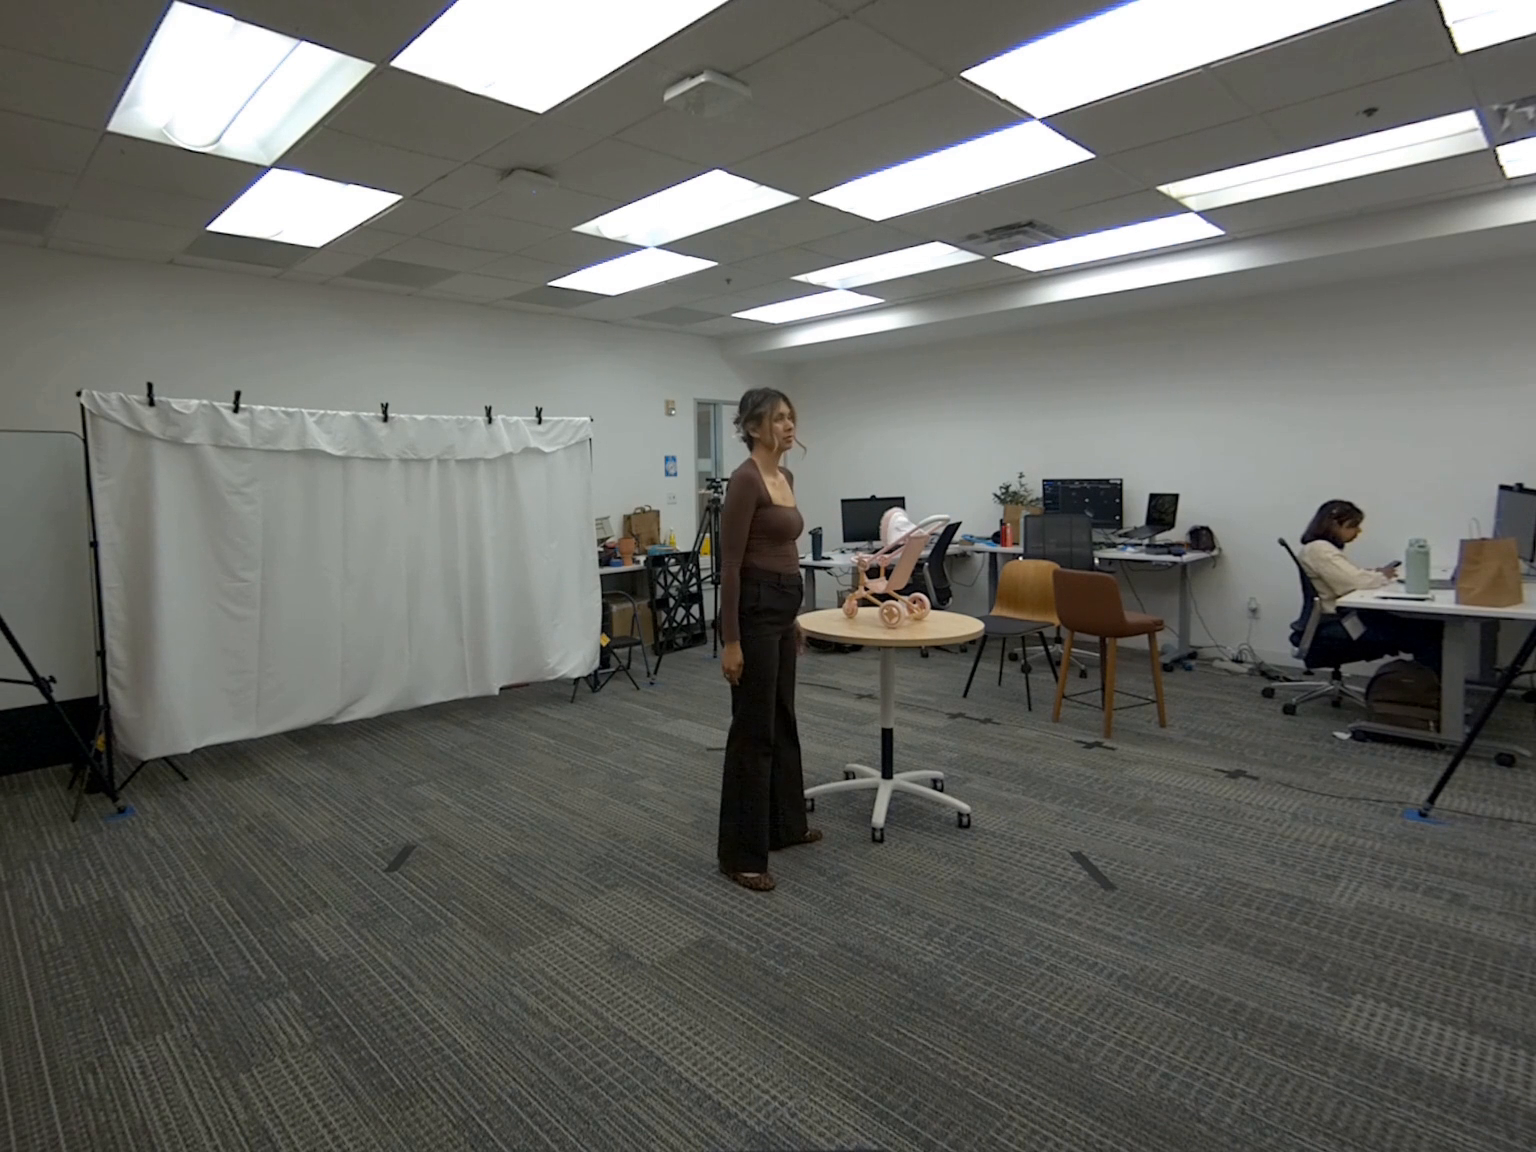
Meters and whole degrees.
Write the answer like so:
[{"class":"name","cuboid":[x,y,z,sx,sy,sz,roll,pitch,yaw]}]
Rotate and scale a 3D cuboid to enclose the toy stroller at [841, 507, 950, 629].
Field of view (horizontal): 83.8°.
[{"class":"toy stroller","cuboid":[0.506,-0.035,3.495,0.354,0.530,0.274,21,17,37]}]
